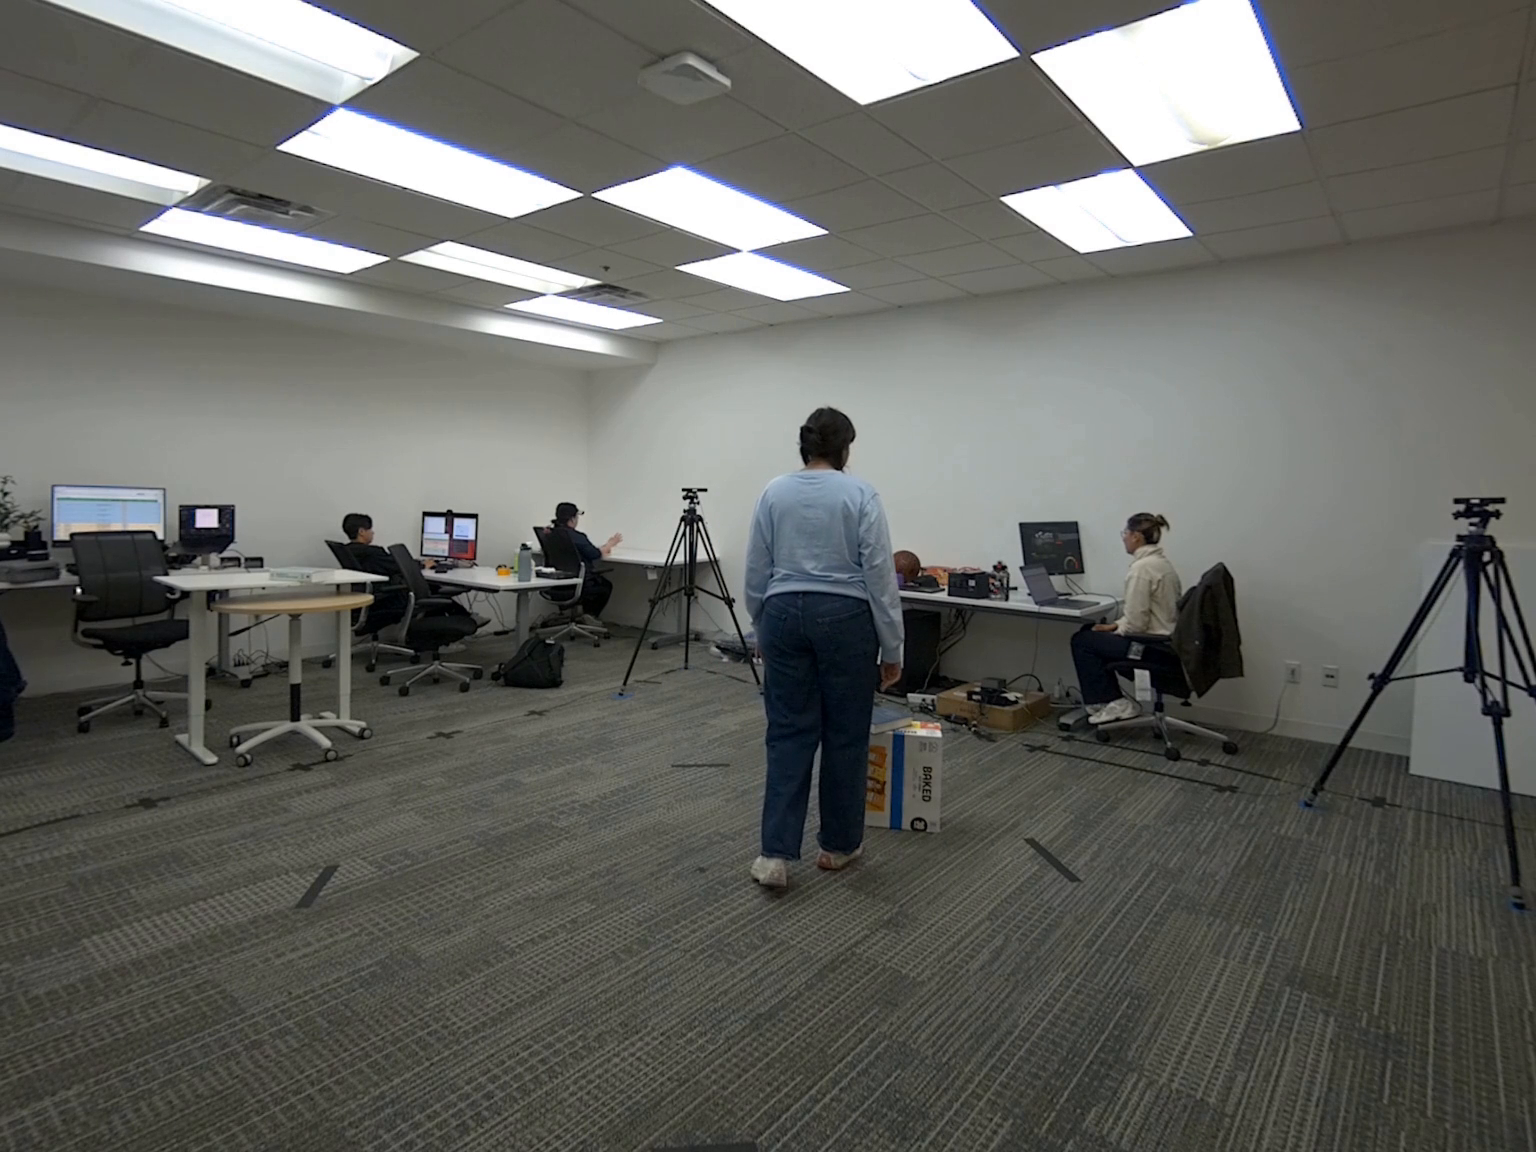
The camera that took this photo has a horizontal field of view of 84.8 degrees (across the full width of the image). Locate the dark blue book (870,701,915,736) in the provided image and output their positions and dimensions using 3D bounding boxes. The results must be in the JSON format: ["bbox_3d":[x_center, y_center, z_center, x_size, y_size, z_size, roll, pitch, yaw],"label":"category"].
[{"bbox_3d":[0.470,0.610,3.616,0.238,0.045,0.169,-3,9,-39],"label":"dark blue book"}]
